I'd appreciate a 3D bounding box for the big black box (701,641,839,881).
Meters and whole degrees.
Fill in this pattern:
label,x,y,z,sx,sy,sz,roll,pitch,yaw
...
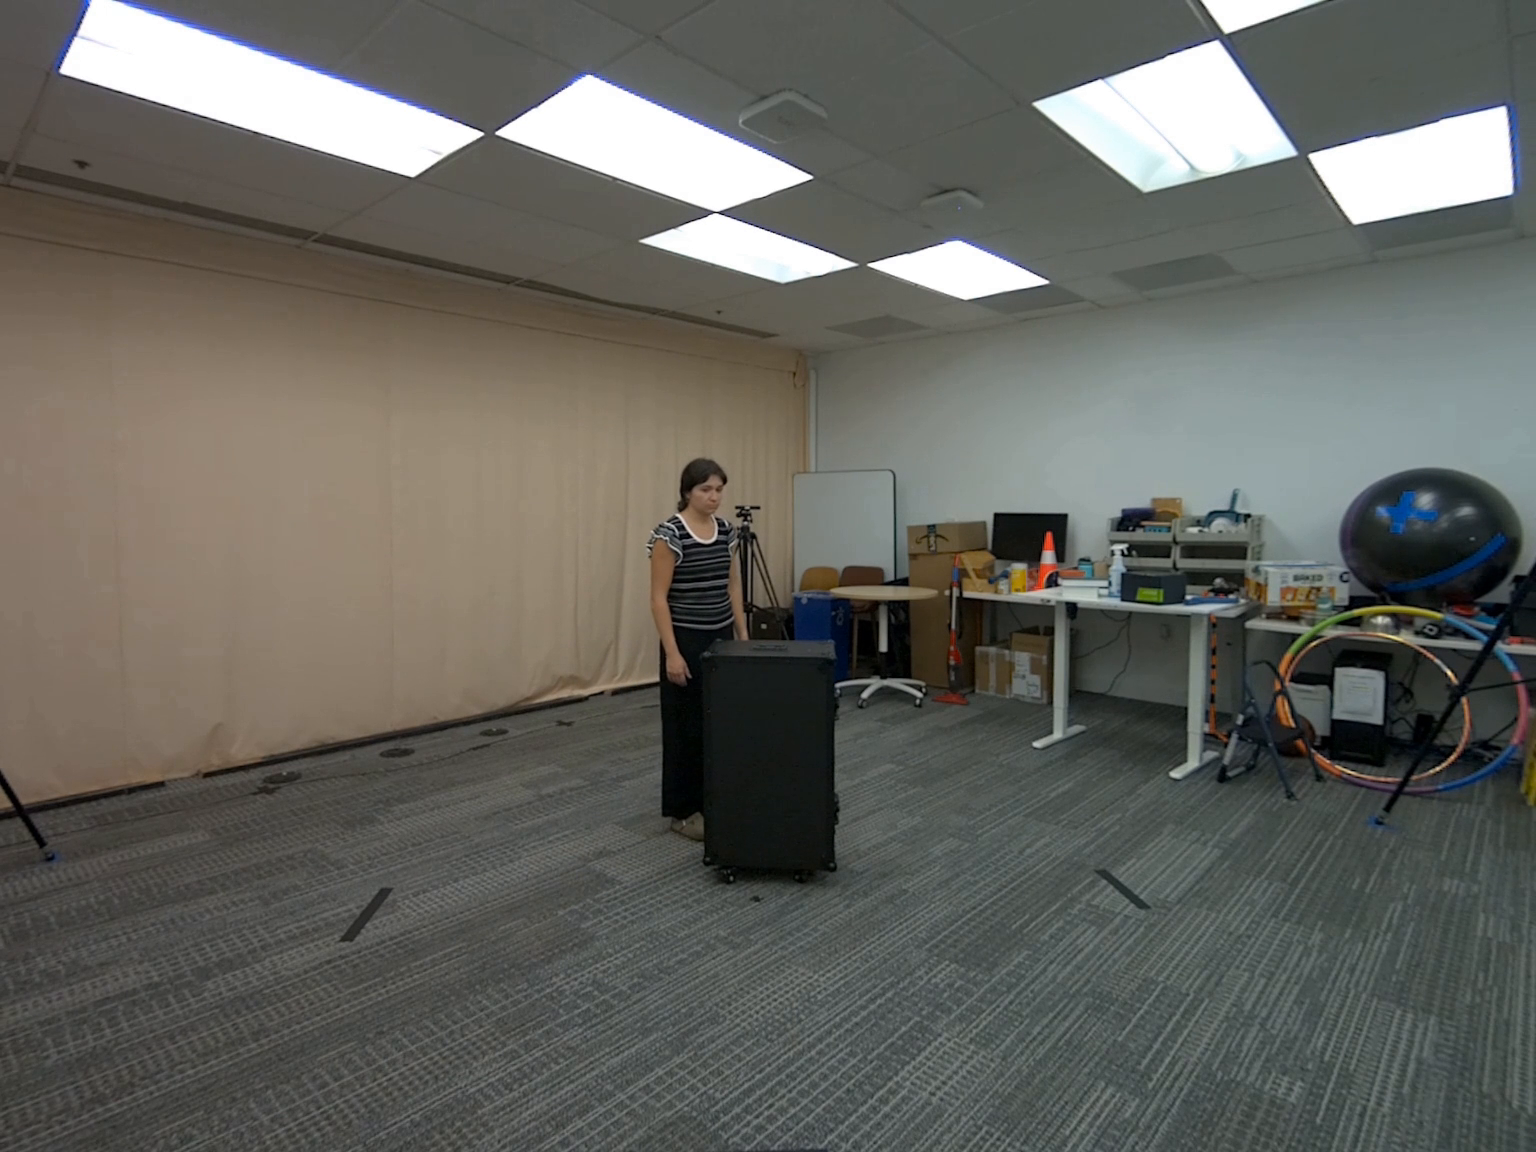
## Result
label,x,y,z,sx,sy,sz,roll,pitch,yaw
big black box,0.016,0.696,3.236,0.526,0.860,0.393,-1,2,7
